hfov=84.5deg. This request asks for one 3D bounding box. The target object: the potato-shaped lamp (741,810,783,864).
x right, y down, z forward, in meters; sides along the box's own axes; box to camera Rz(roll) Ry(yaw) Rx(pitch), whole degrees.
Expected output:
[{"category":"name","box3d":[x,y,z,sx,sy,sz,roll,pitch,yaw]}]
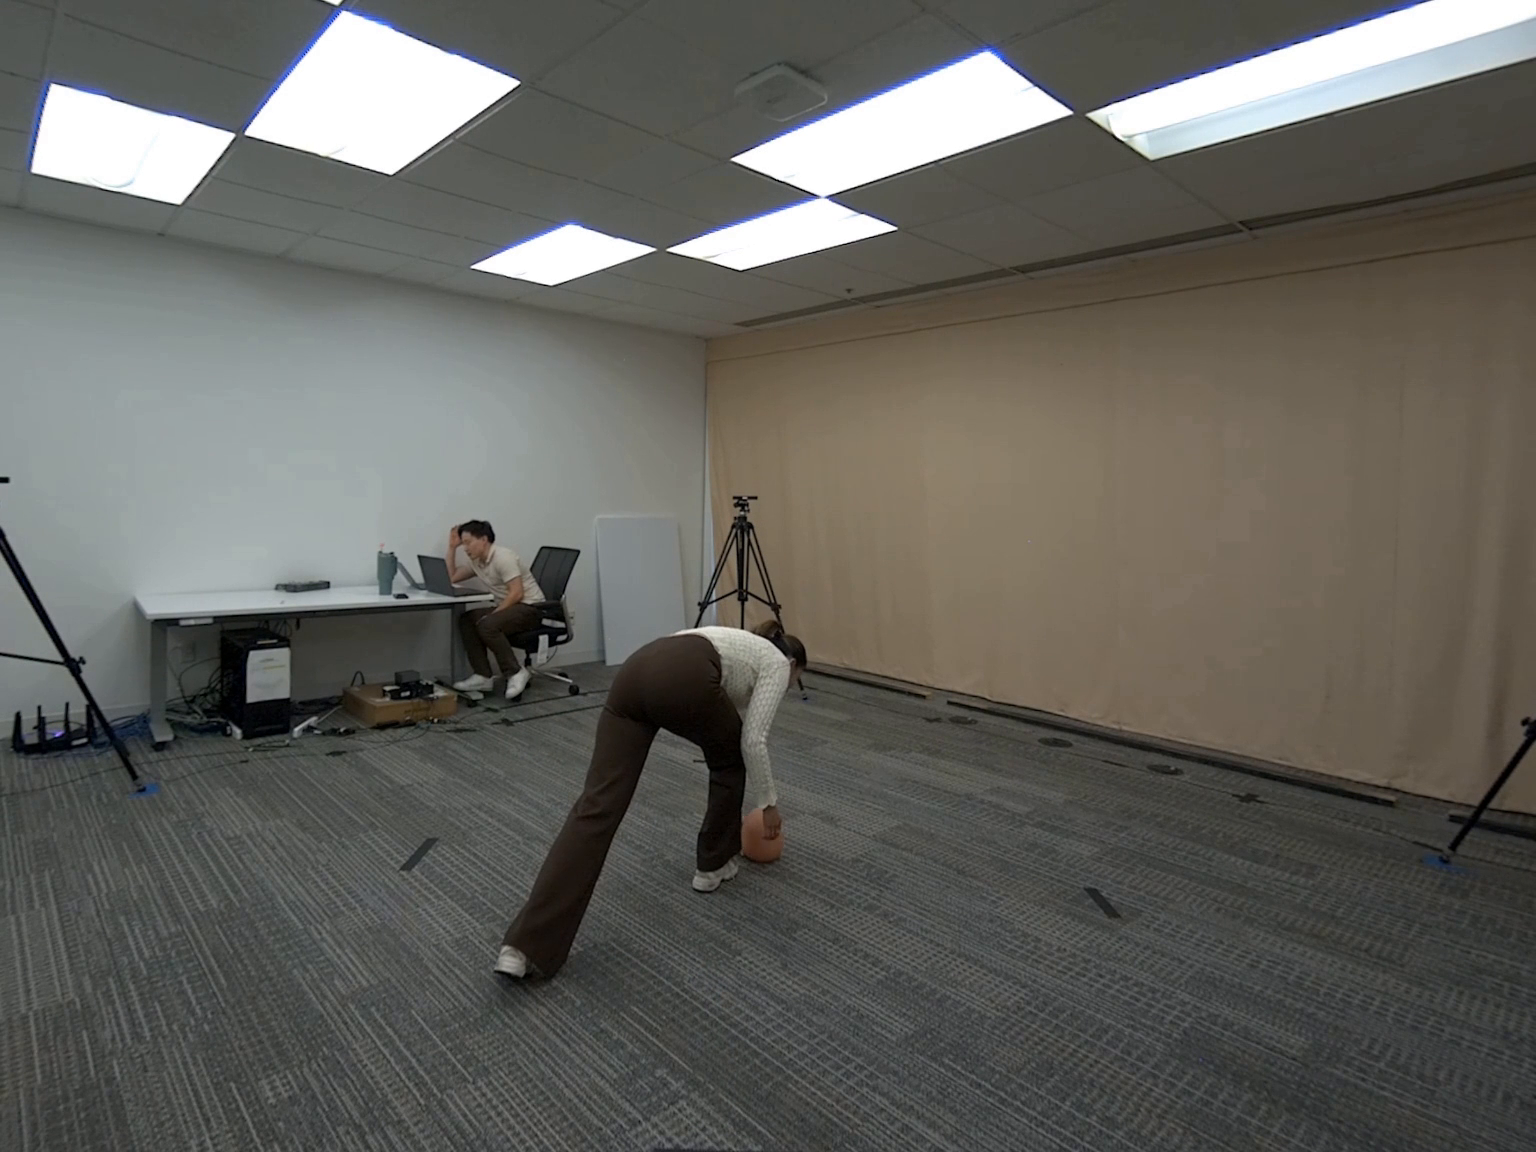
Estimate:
[{"category":"potato-shaped lamp","box3d":[-0.036,0.987,3.244,0.169,0.196,0.168,13,16,36]}]
